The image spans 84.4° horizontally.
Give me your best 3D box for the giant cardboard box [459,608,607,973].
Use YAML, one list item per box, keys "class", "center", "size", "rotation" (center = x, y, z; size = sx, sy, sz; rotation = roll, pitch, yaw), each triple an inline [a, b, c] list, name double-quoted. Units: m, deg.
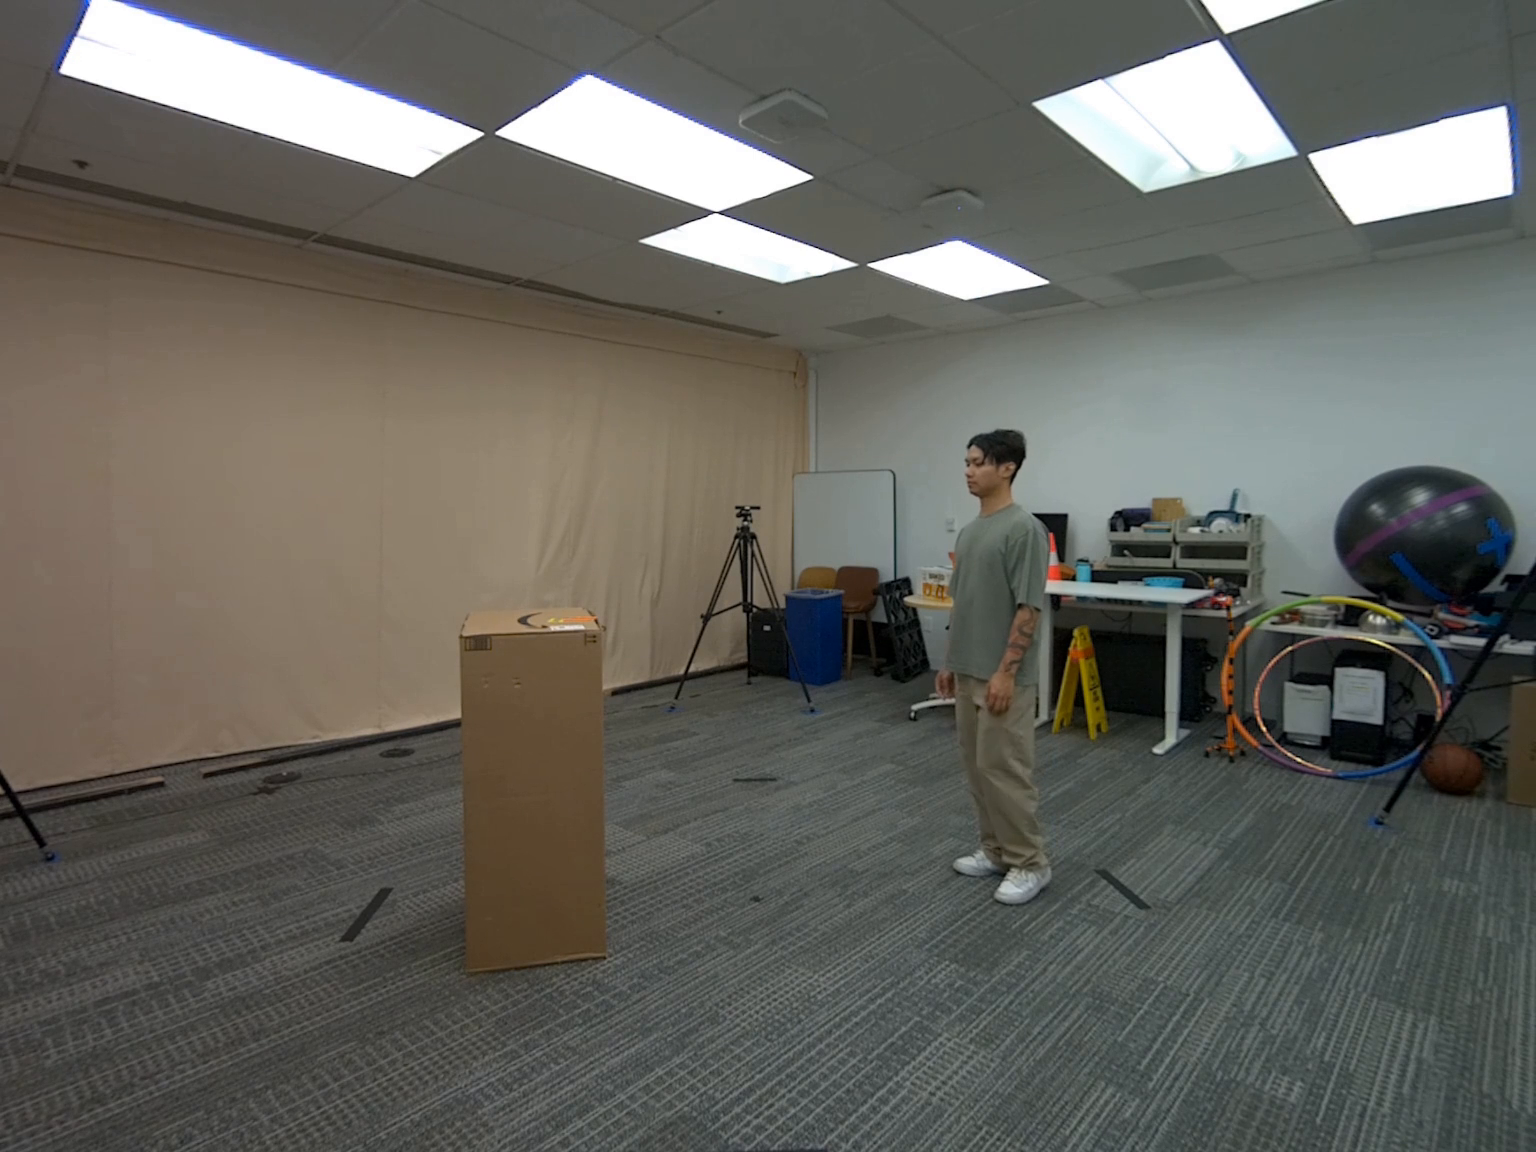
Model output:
- class: "giant cardboard box"
  center: [-0.783, 0.656, 2.806]
  size: [0.419, 1.024, 0.588]
  rotation: [-1, 3, -16]
